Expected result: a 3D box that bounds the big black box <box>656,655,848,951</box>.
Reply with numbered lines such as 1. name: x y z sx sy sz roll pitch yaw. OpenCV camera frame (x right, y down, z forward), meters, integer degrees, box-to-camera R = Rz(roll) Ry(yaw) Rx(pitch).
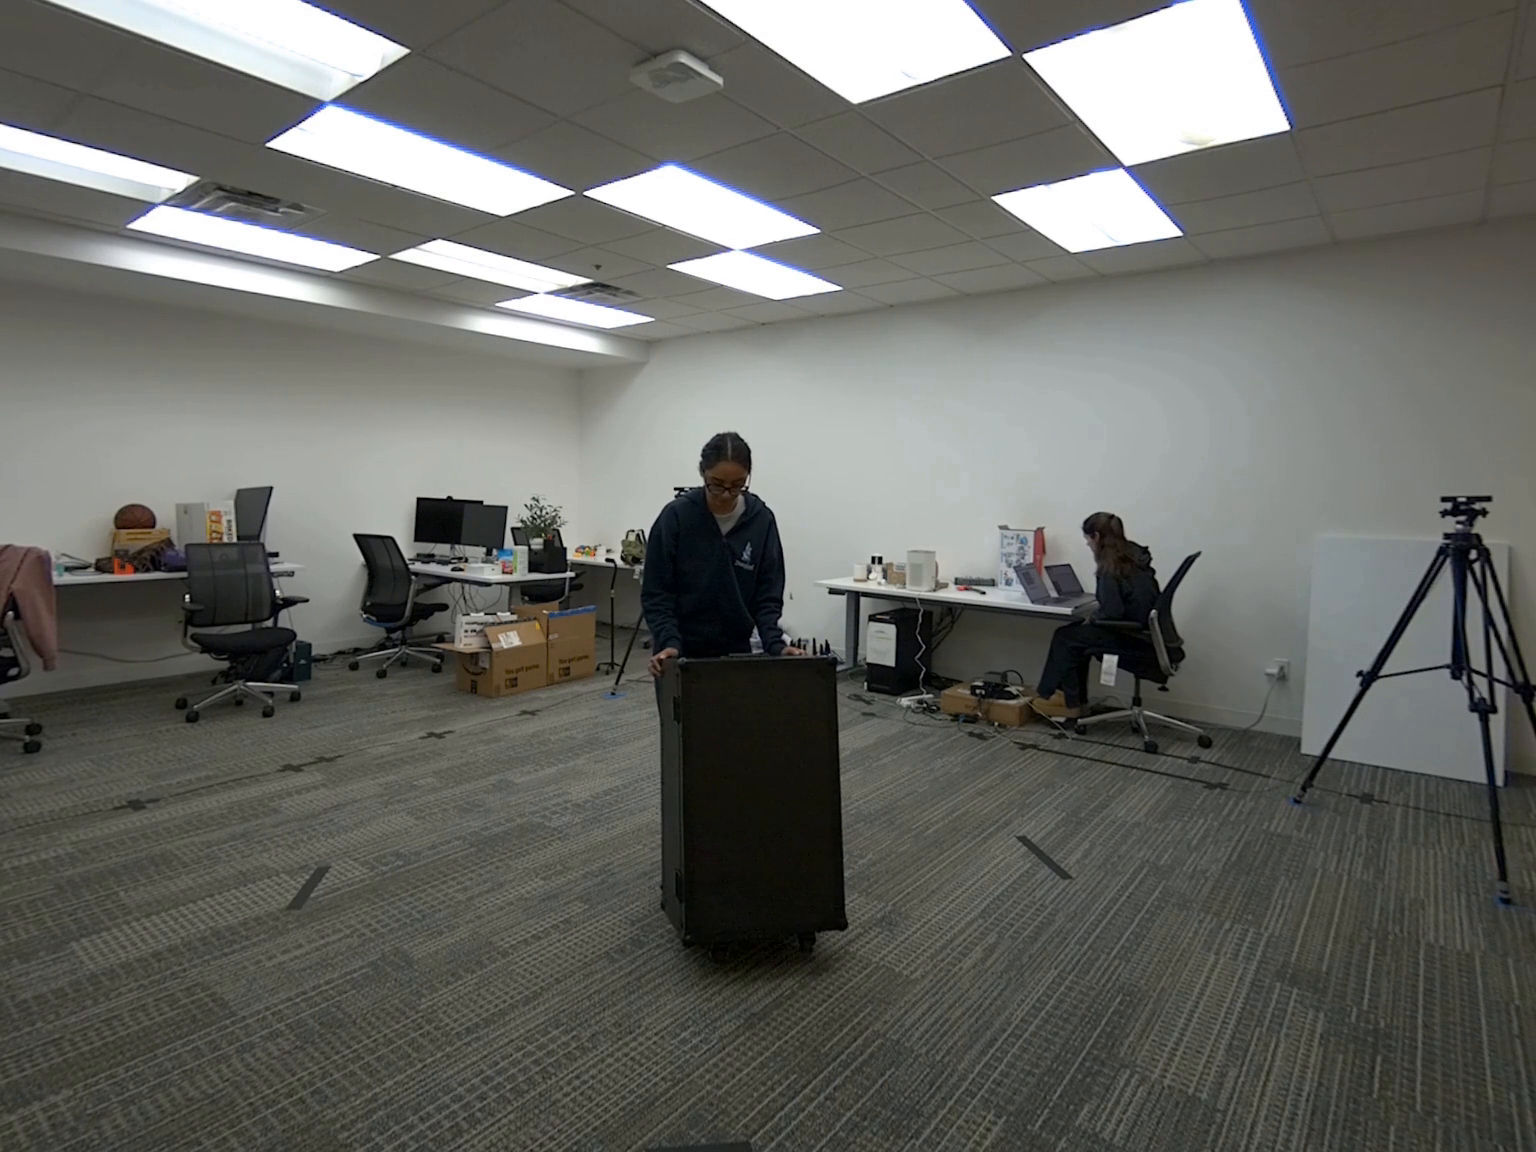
1. big black box: -0.078 0.678 2.624 0.513 0.868 0.399 -1 -7 -15
